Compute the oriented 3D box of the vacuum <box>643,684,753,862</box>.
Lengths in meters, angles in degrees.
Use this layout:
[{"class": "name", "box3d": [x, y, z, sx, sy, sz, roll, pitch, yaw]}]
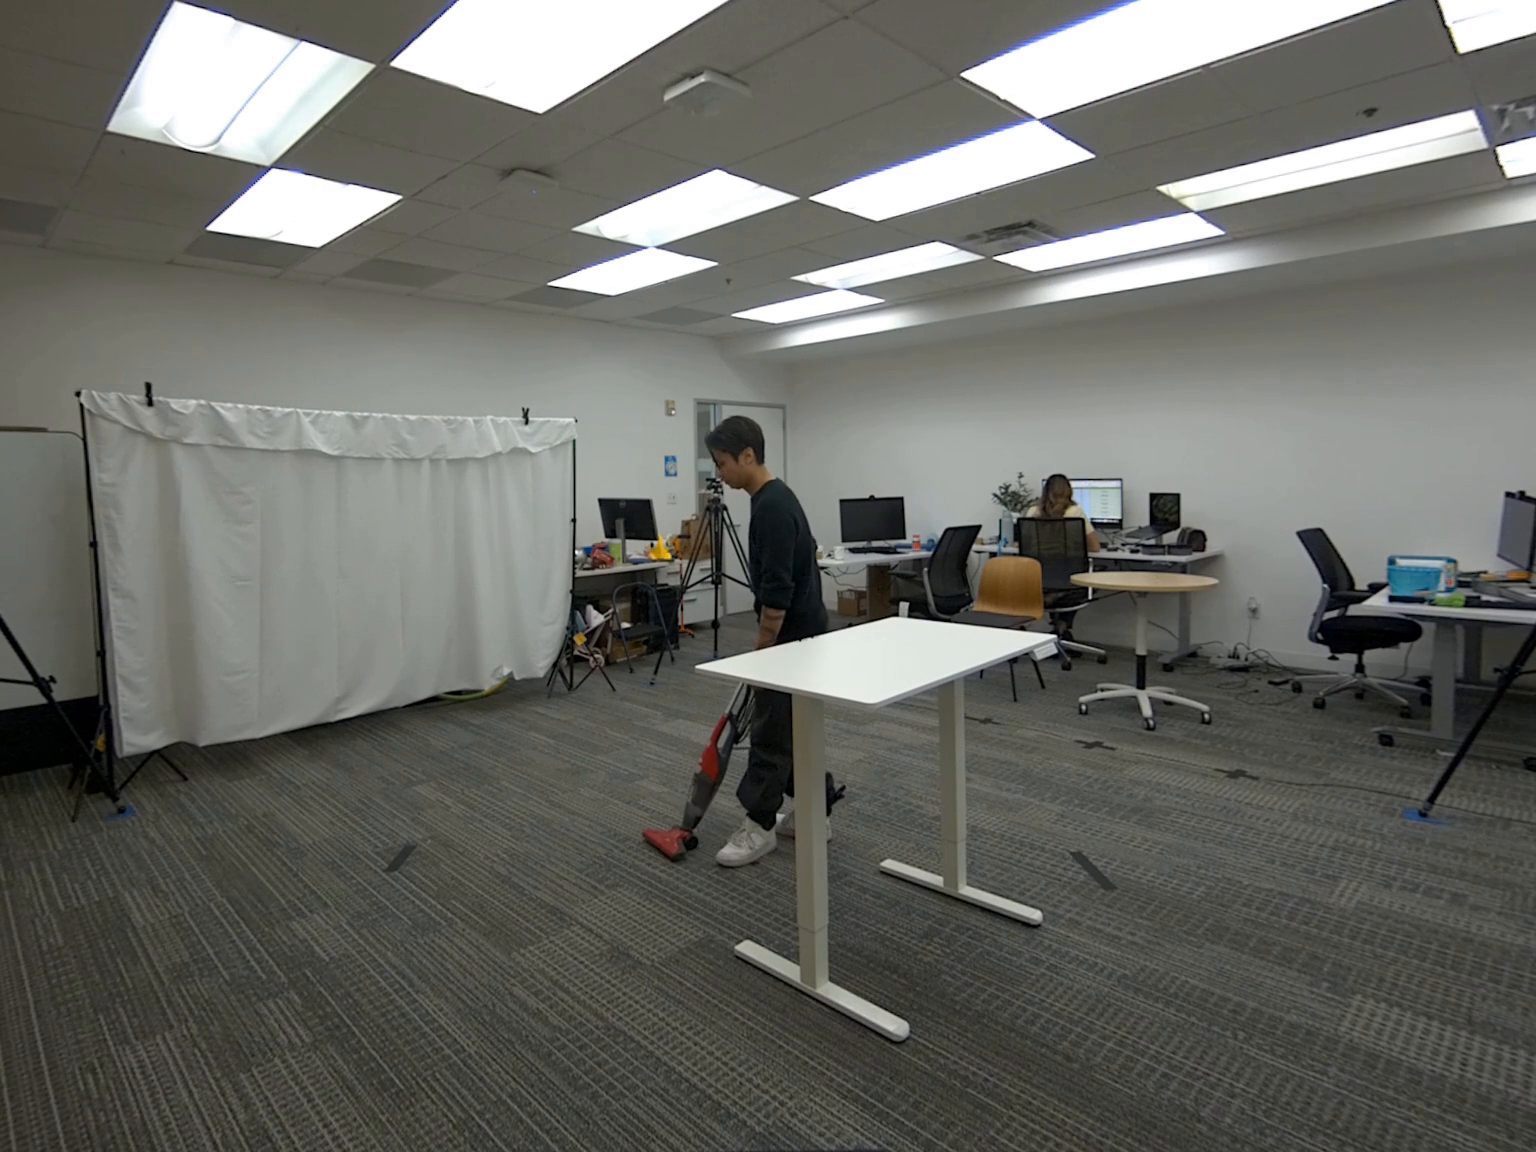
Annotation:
[{"class": "vacuum", "box3d": [-0.145, 0.577, 3.374, 0.139, 1.055, 0.260, 37, -17, -31]}]
